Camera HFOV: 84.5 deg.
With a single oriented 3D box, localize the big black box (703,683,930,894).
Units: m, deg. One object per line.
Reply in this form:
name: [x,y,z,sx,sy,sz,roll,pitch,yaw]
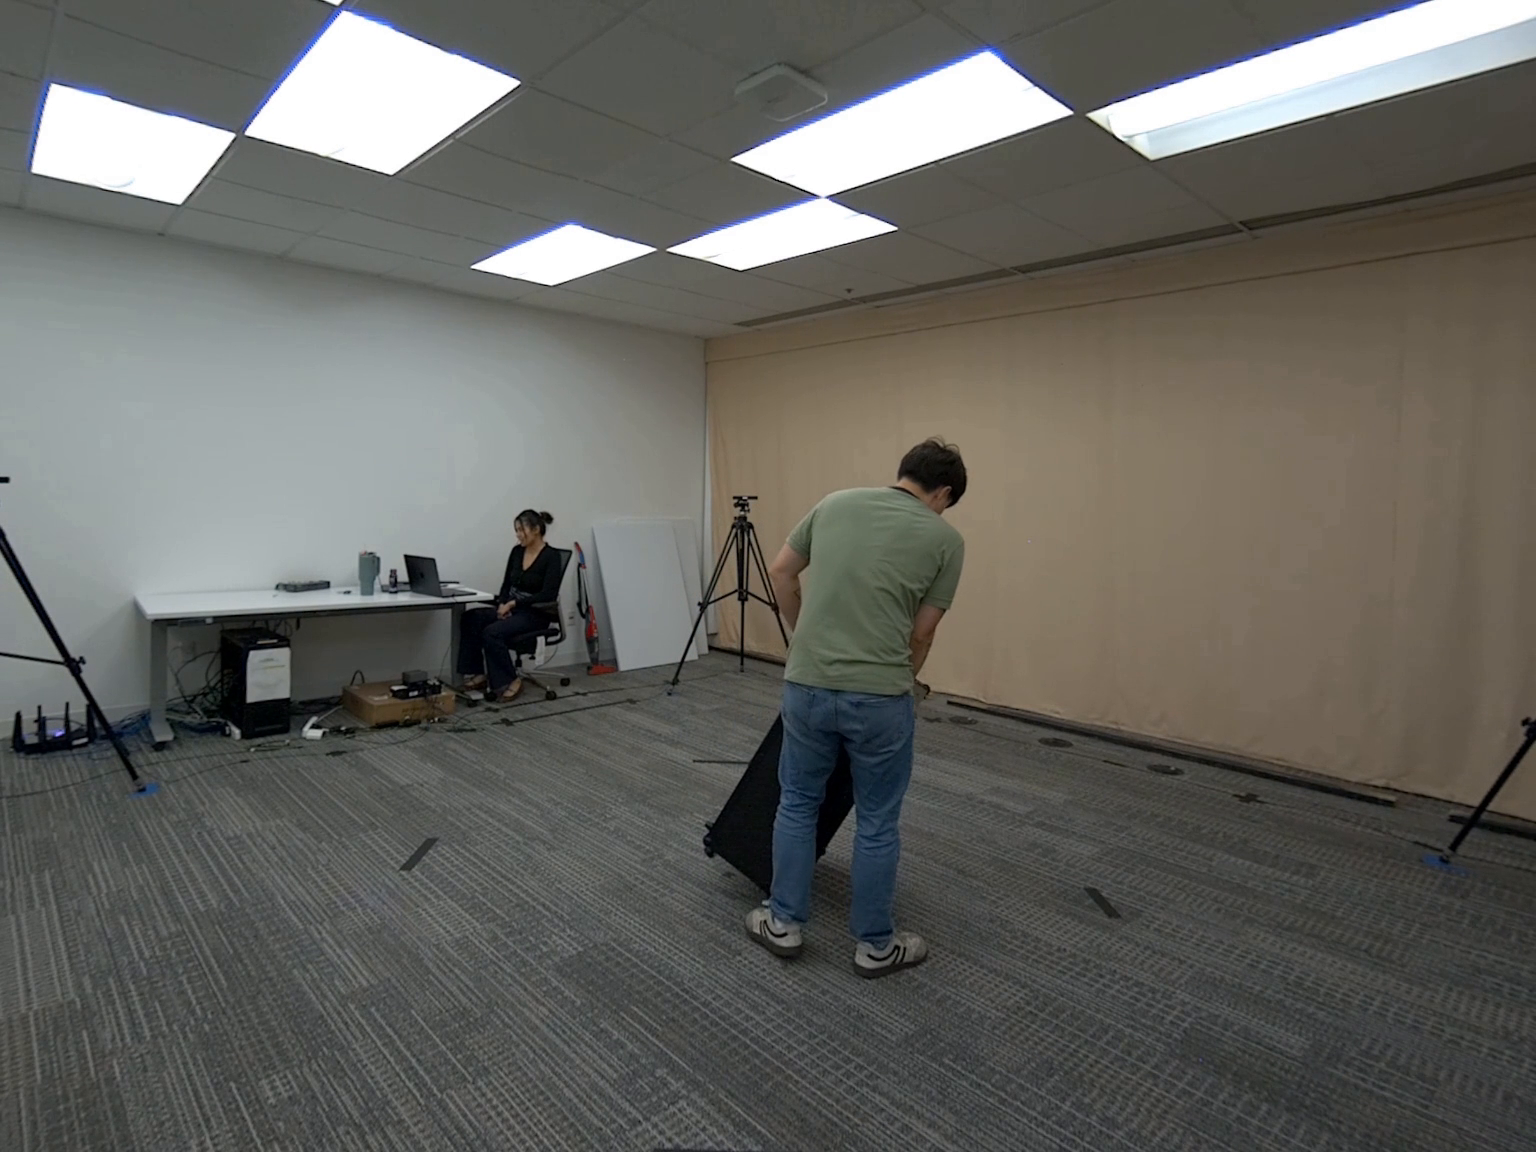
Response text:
big black box: [0.148,0.689,2.977,0.403,0.859,0.514,33,12,14]
